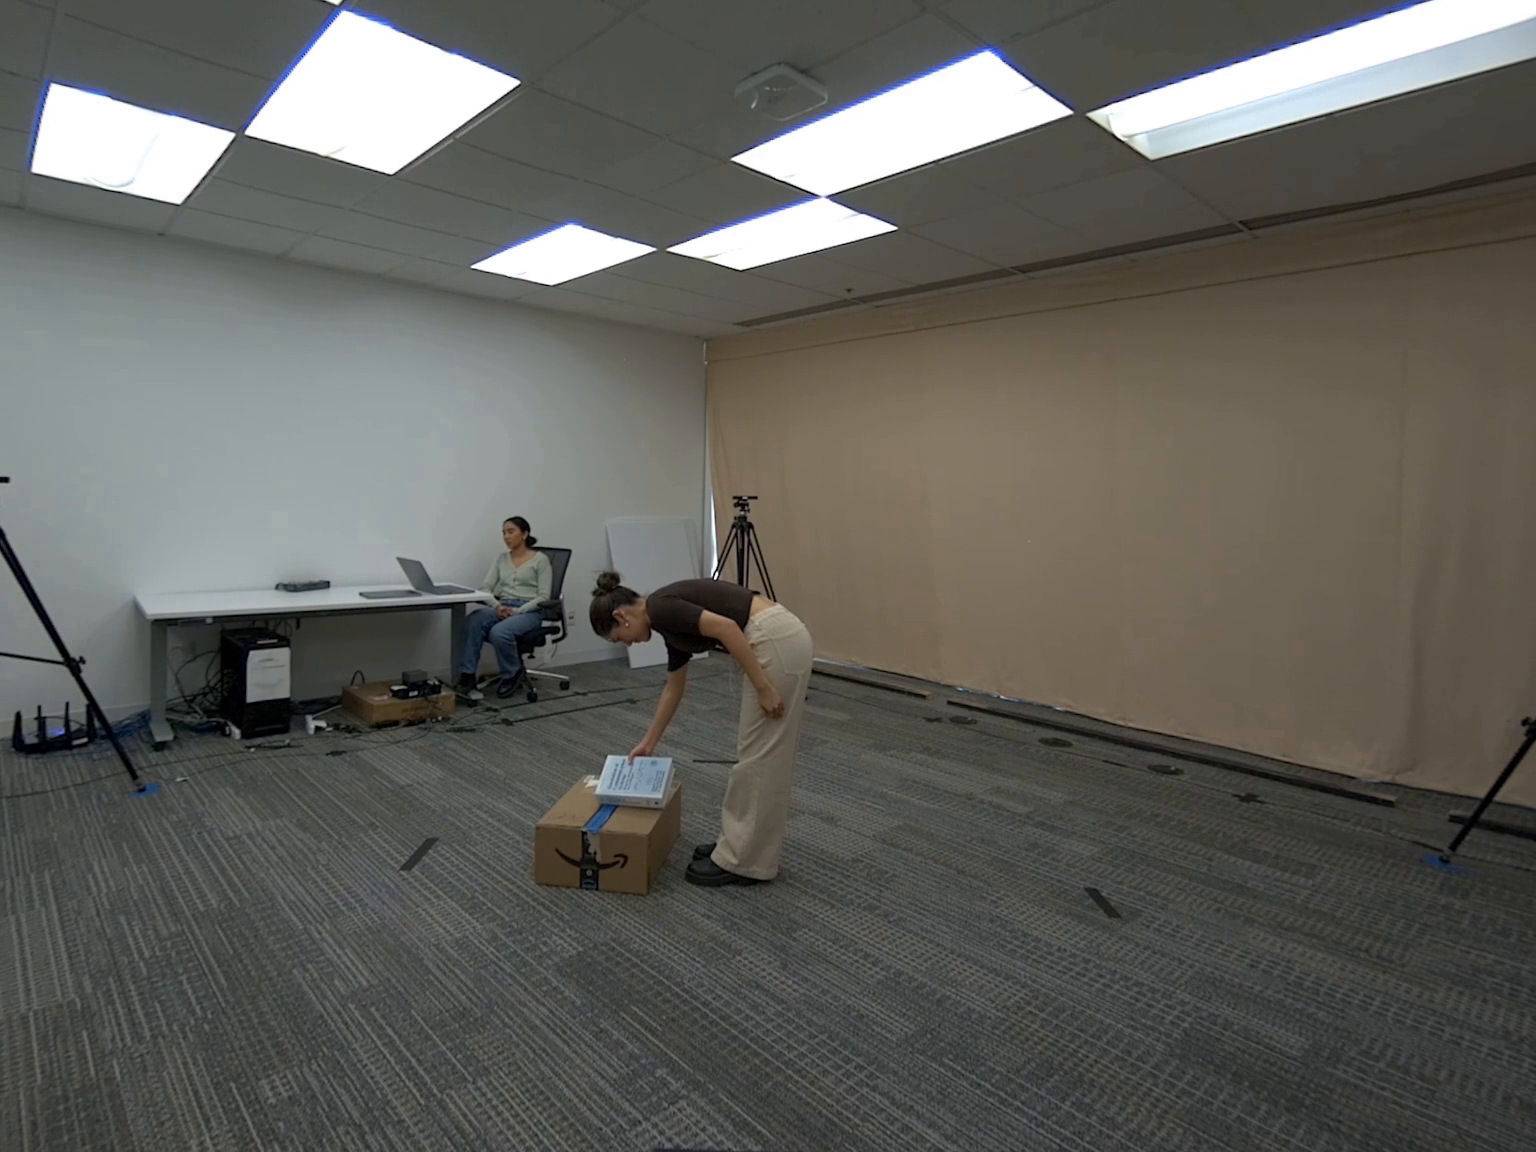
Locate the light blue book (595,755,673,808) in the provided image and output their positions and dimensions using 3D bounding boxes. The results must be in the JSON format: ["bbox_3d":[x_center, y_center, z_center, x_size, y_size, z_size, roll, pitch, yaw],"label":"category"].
[{"bbox_3d":[-0.506,0.784,3.213,0.263,0.057,0.194,0,37,10],"label":"light blue book"}]
